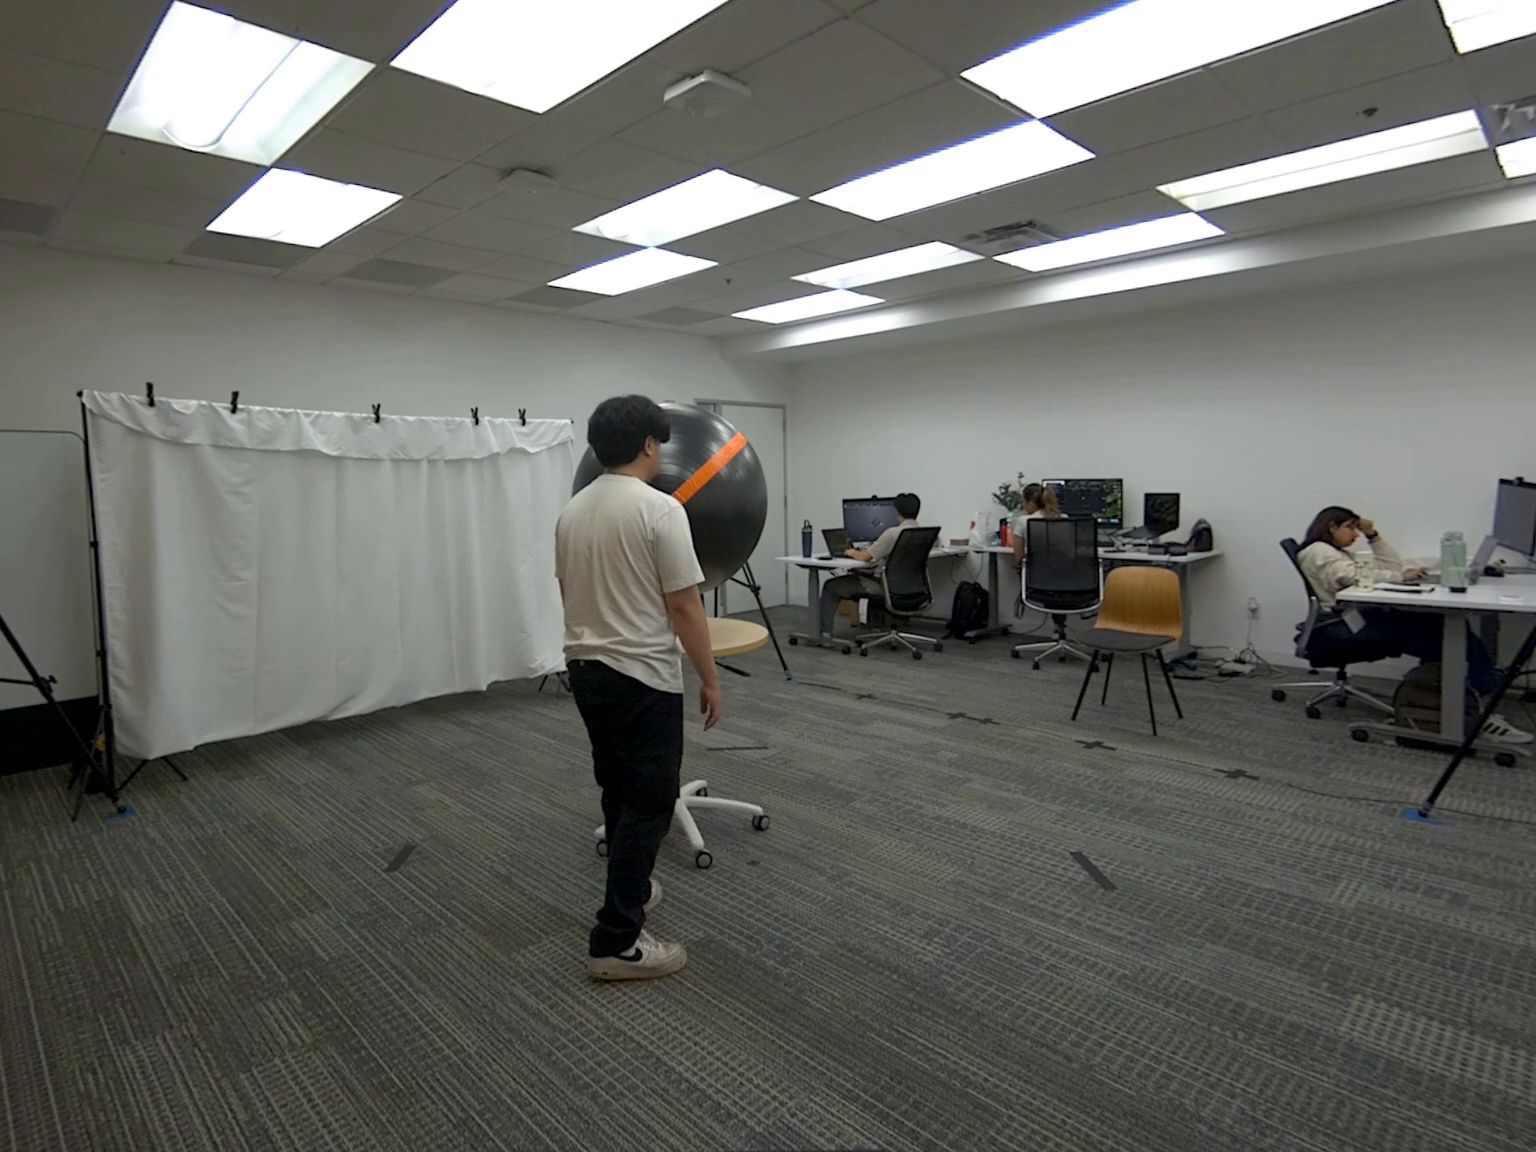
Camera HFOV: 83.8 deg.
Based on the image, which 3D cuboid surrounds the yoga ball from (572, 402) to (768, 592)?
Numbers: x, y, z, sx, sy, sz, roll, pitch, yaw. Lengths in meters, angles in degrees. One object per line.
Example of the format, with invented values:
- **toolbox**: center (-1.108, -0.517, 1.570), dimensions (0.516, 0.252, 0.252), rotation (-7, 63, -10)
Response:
- **yoga ball**: center (-0.380, -0.283, 3.326), dimensions (0.757, 0.755, 0.762), rotation (-1, 5, -2)
